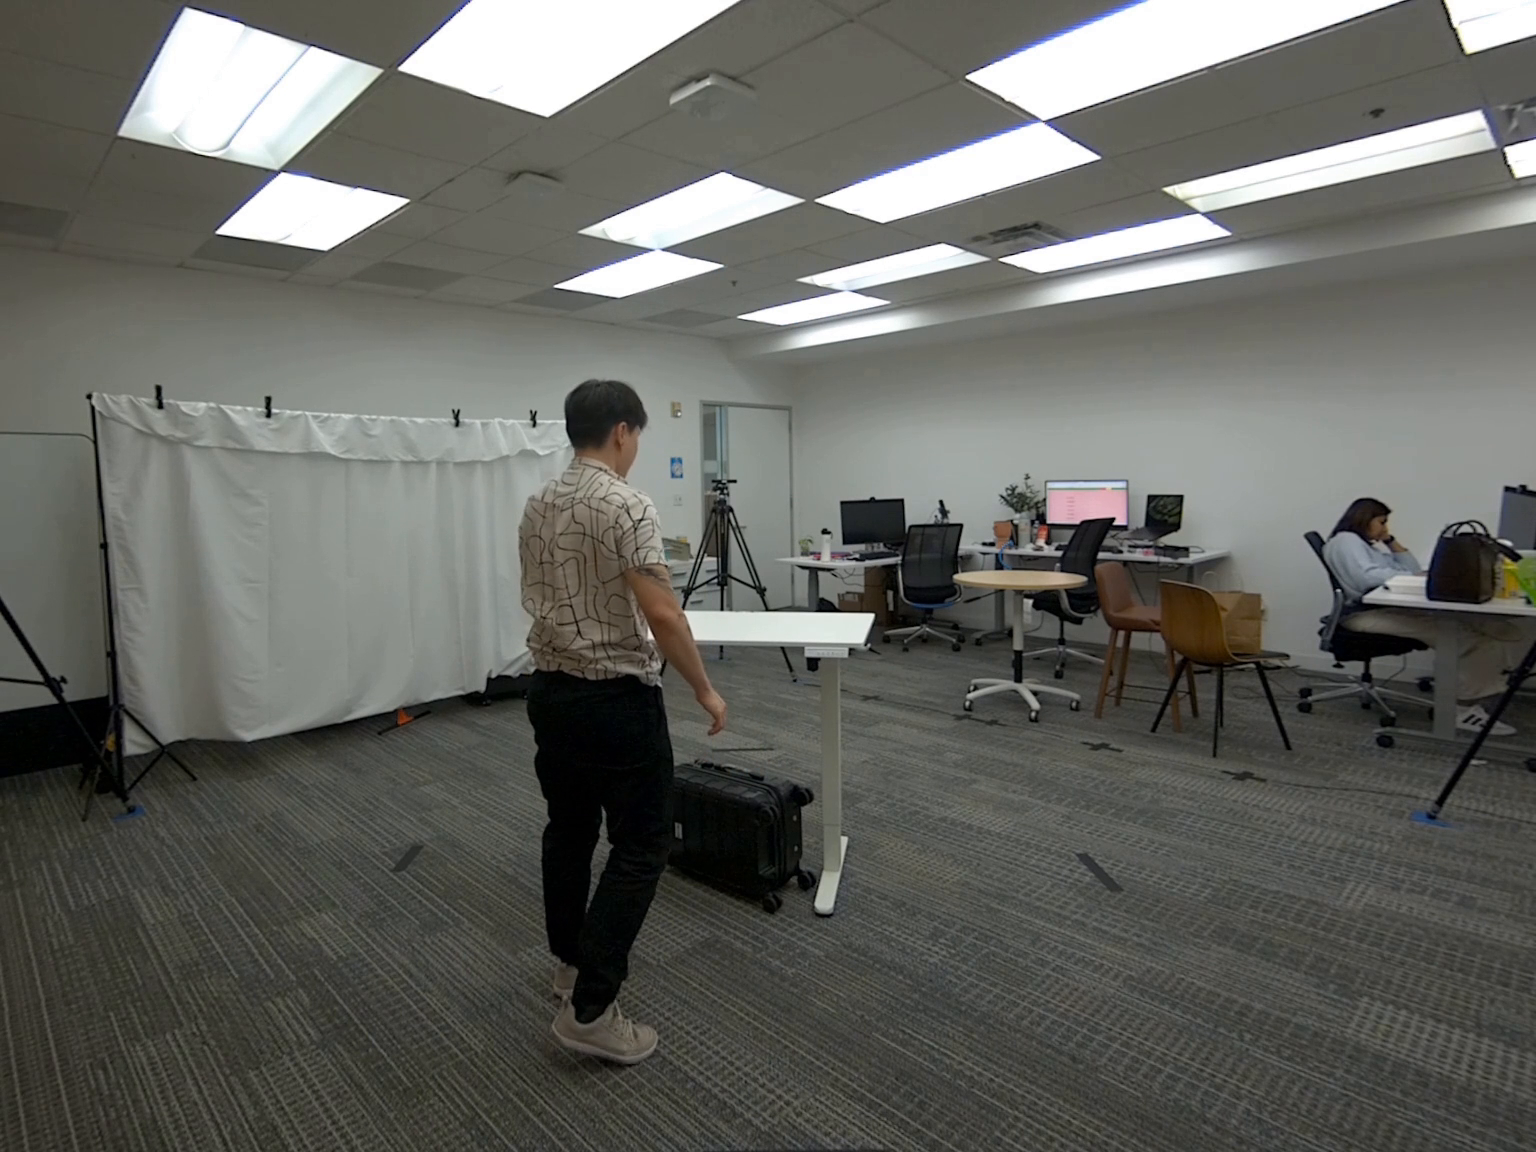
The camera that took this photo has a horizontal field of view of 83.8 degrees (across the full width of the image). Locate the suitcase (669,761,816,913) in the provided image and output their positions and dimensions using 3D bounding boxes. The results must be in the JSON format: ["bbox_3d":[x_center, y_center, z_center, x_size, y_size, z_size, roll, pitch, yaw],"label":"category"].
[{"bbox_3d":[-0.131,0.864,2.991,0.566,0.374,0.242,4,6,38],"label":"suitcase"}]
